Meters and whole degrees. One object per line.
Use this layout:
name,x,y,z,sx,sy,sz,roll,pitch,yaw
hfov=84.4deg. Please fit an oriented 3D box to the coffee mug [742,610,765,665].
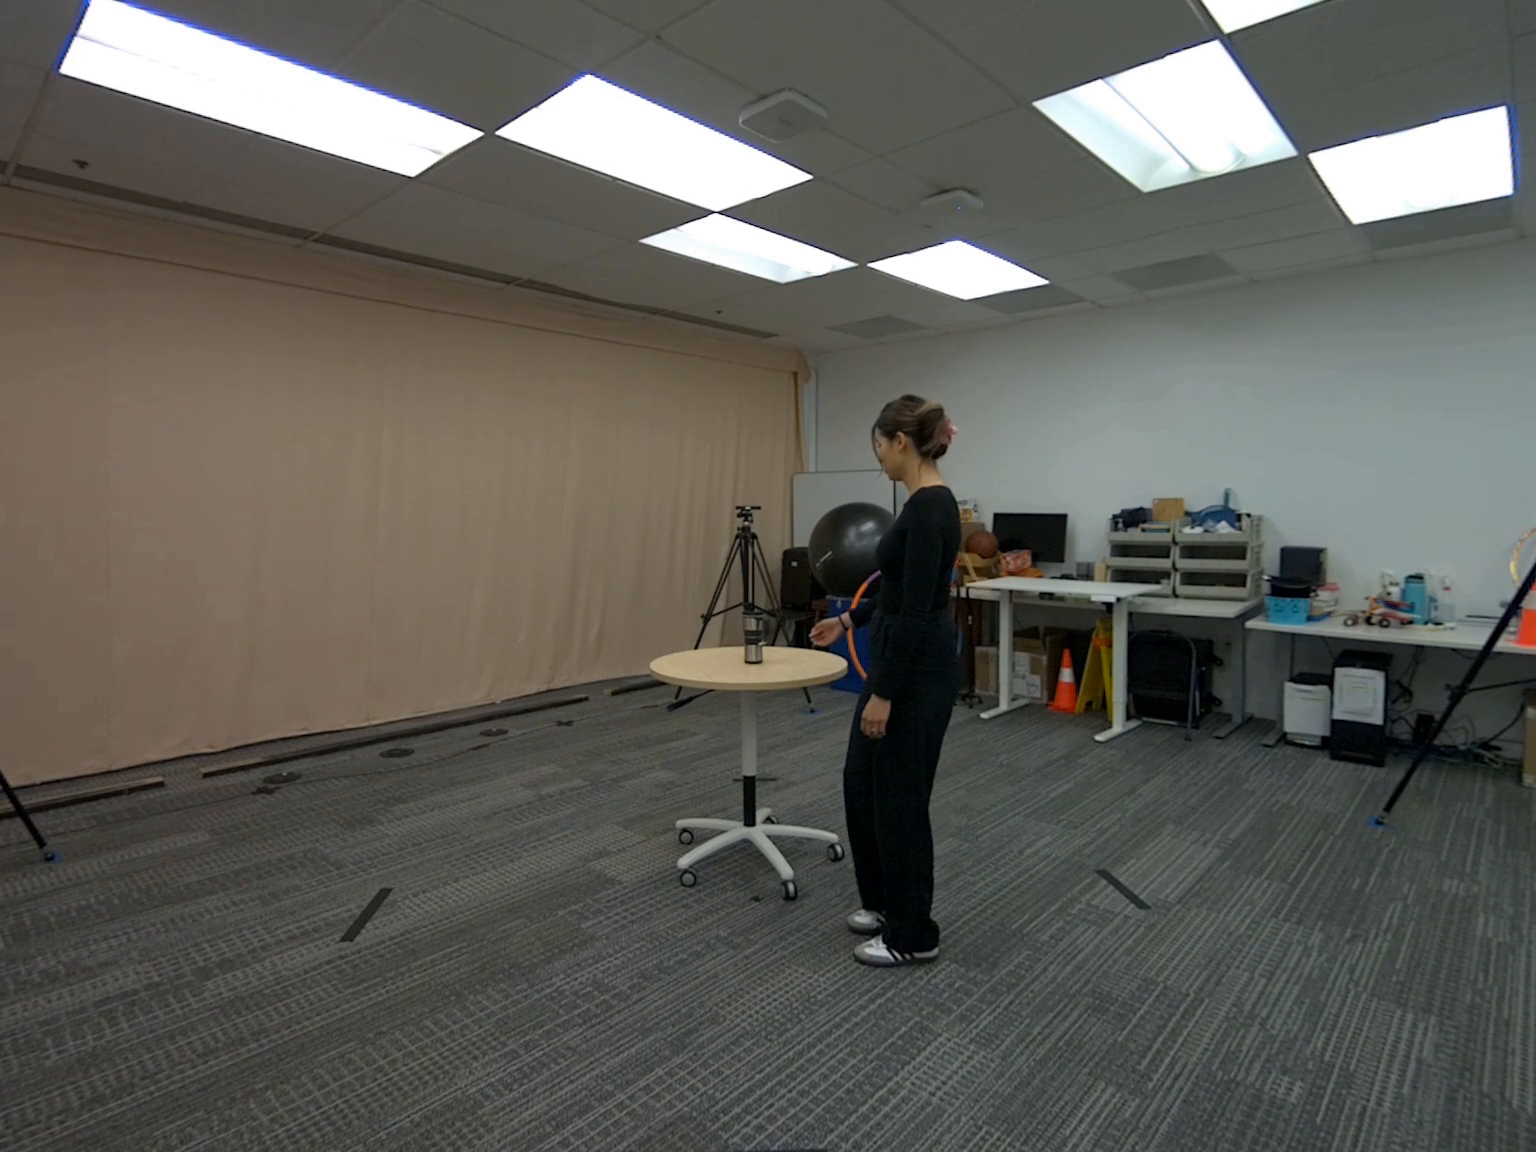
coffee mug,-0.065,0.241,3.254,0.091,0.202,0.118,8,4,37
